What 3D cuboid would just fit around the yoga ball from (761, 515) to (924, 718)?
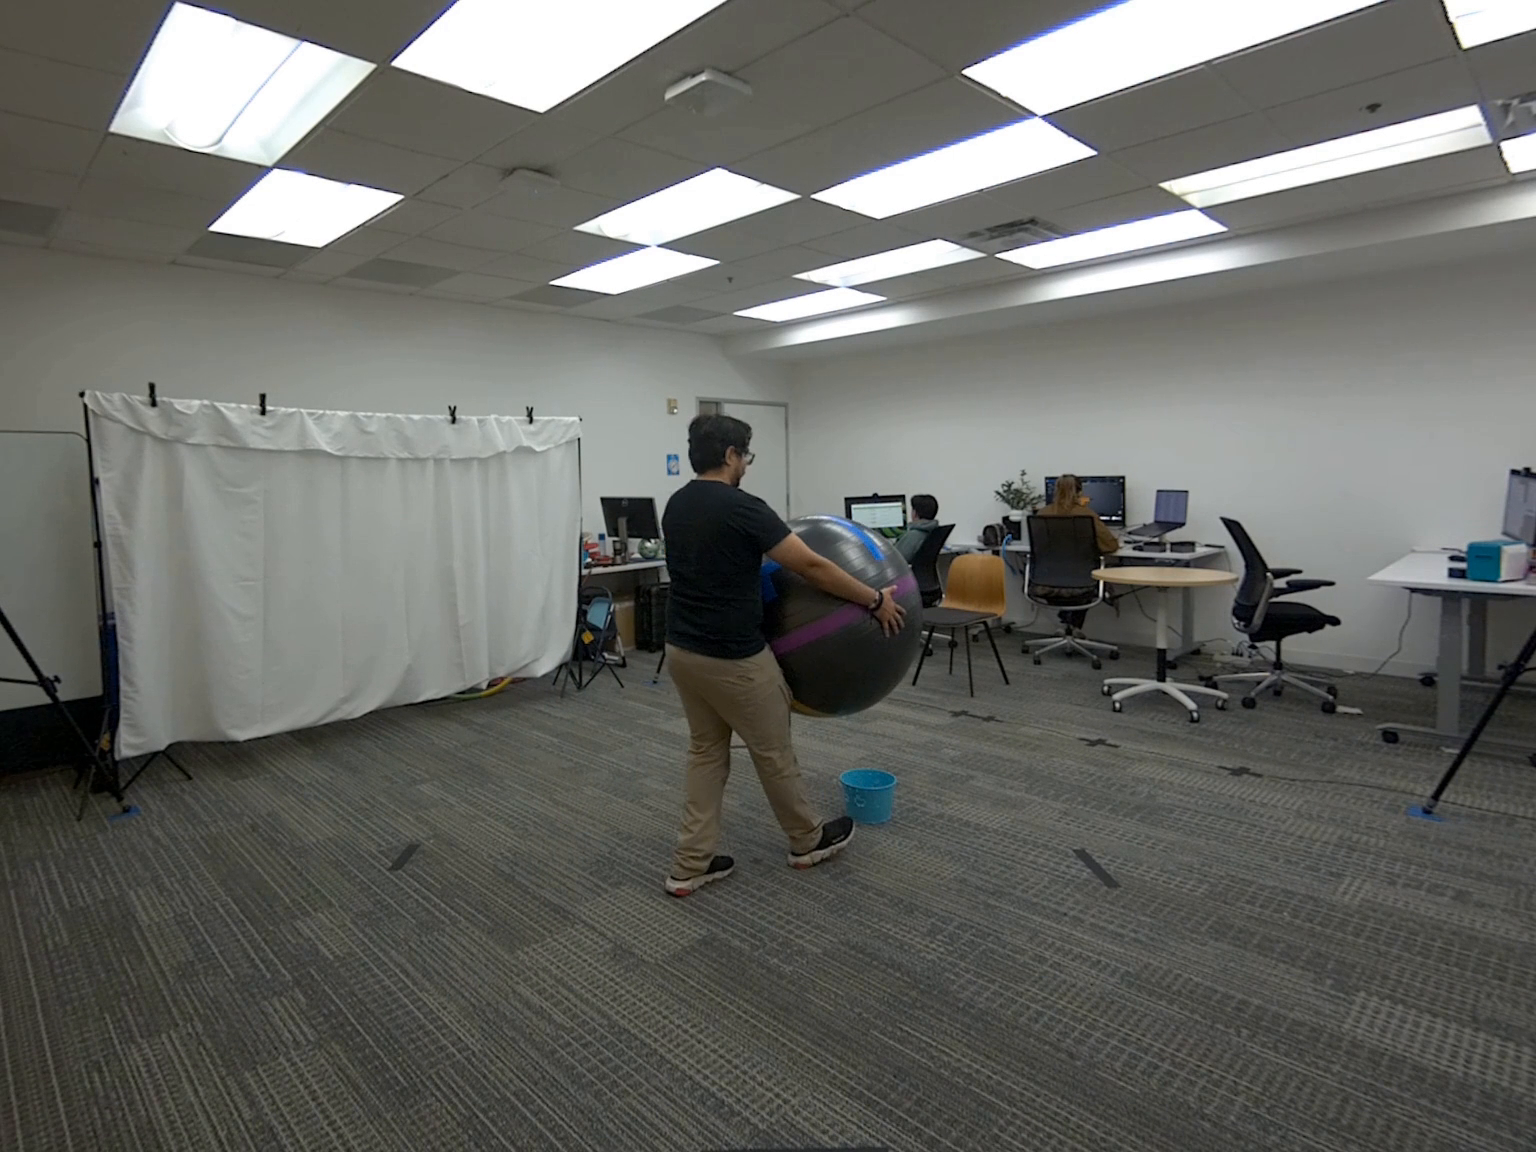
[{"bbox_3d":[0.224,0.155,3.257,0.757,0.755,0.762,-1,5,-2],"label":"yoga ball"}]
